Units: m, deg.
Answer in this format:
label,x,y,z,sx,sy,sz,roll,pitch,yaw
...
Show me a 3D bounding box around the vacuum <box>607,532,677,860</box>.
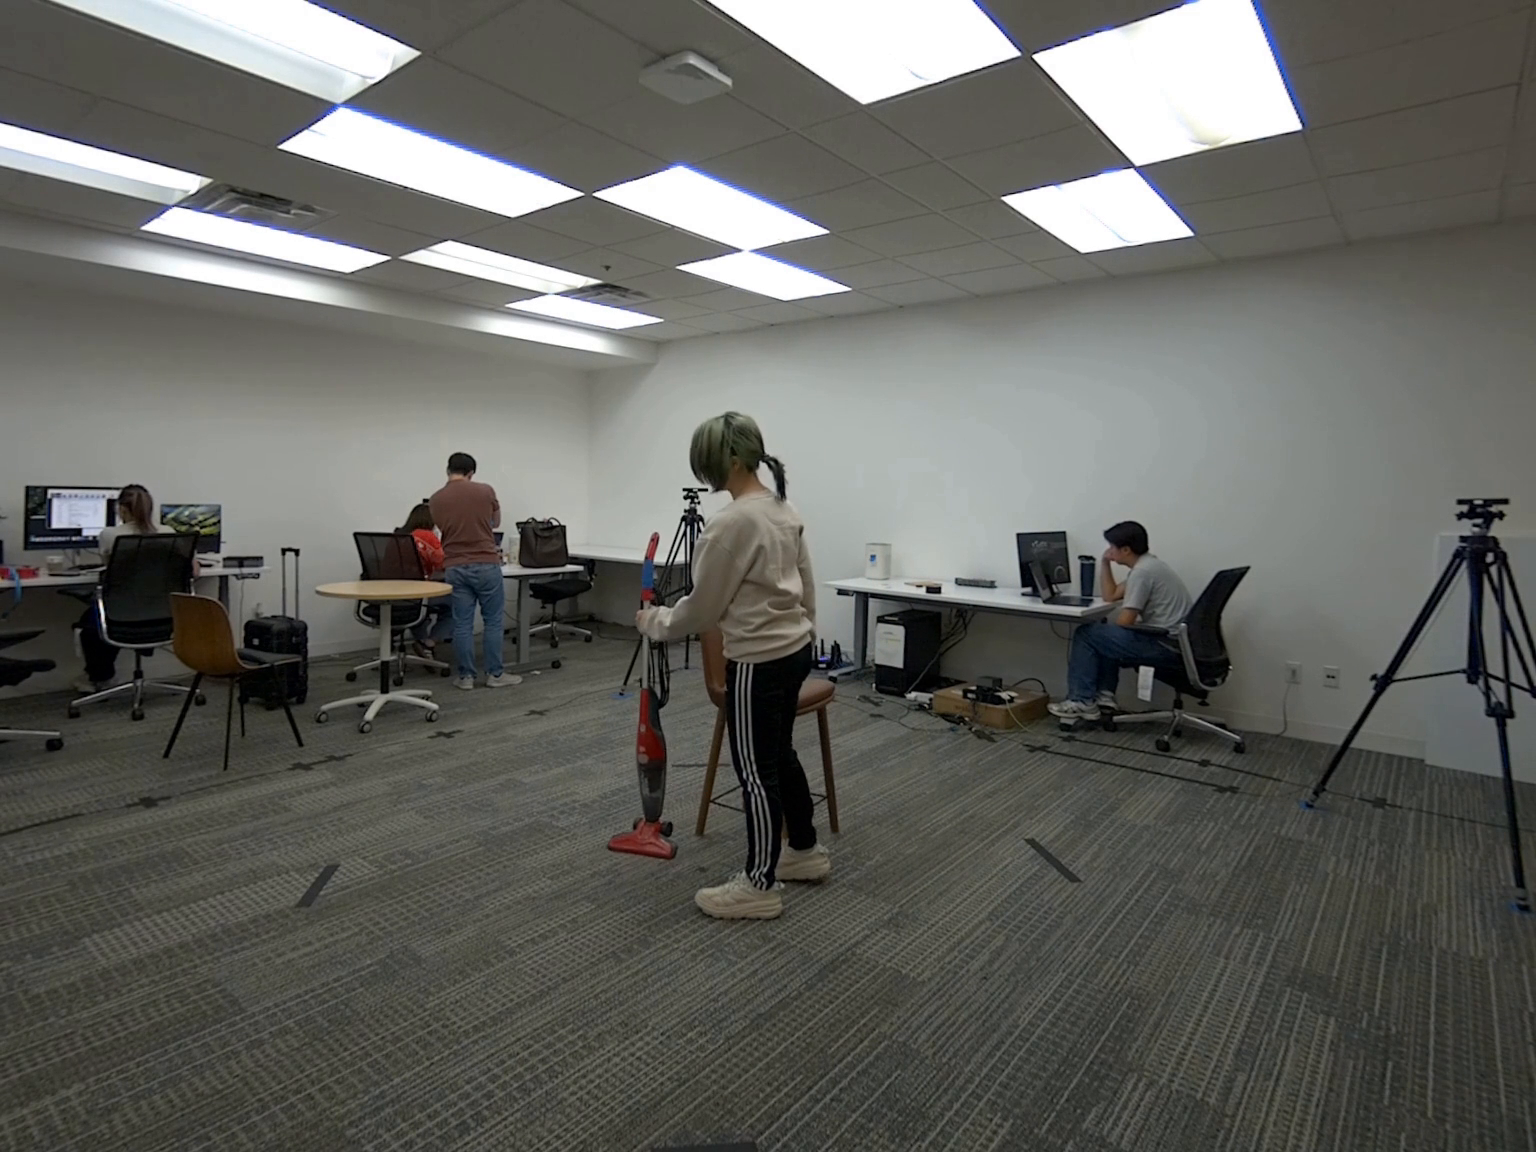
label,x,y,z,sx,sy,sz,roll,pitch,yaw
vacuum,-0.416,0.390,2.959,0.259,1.055,0.139,-1,-6,26
